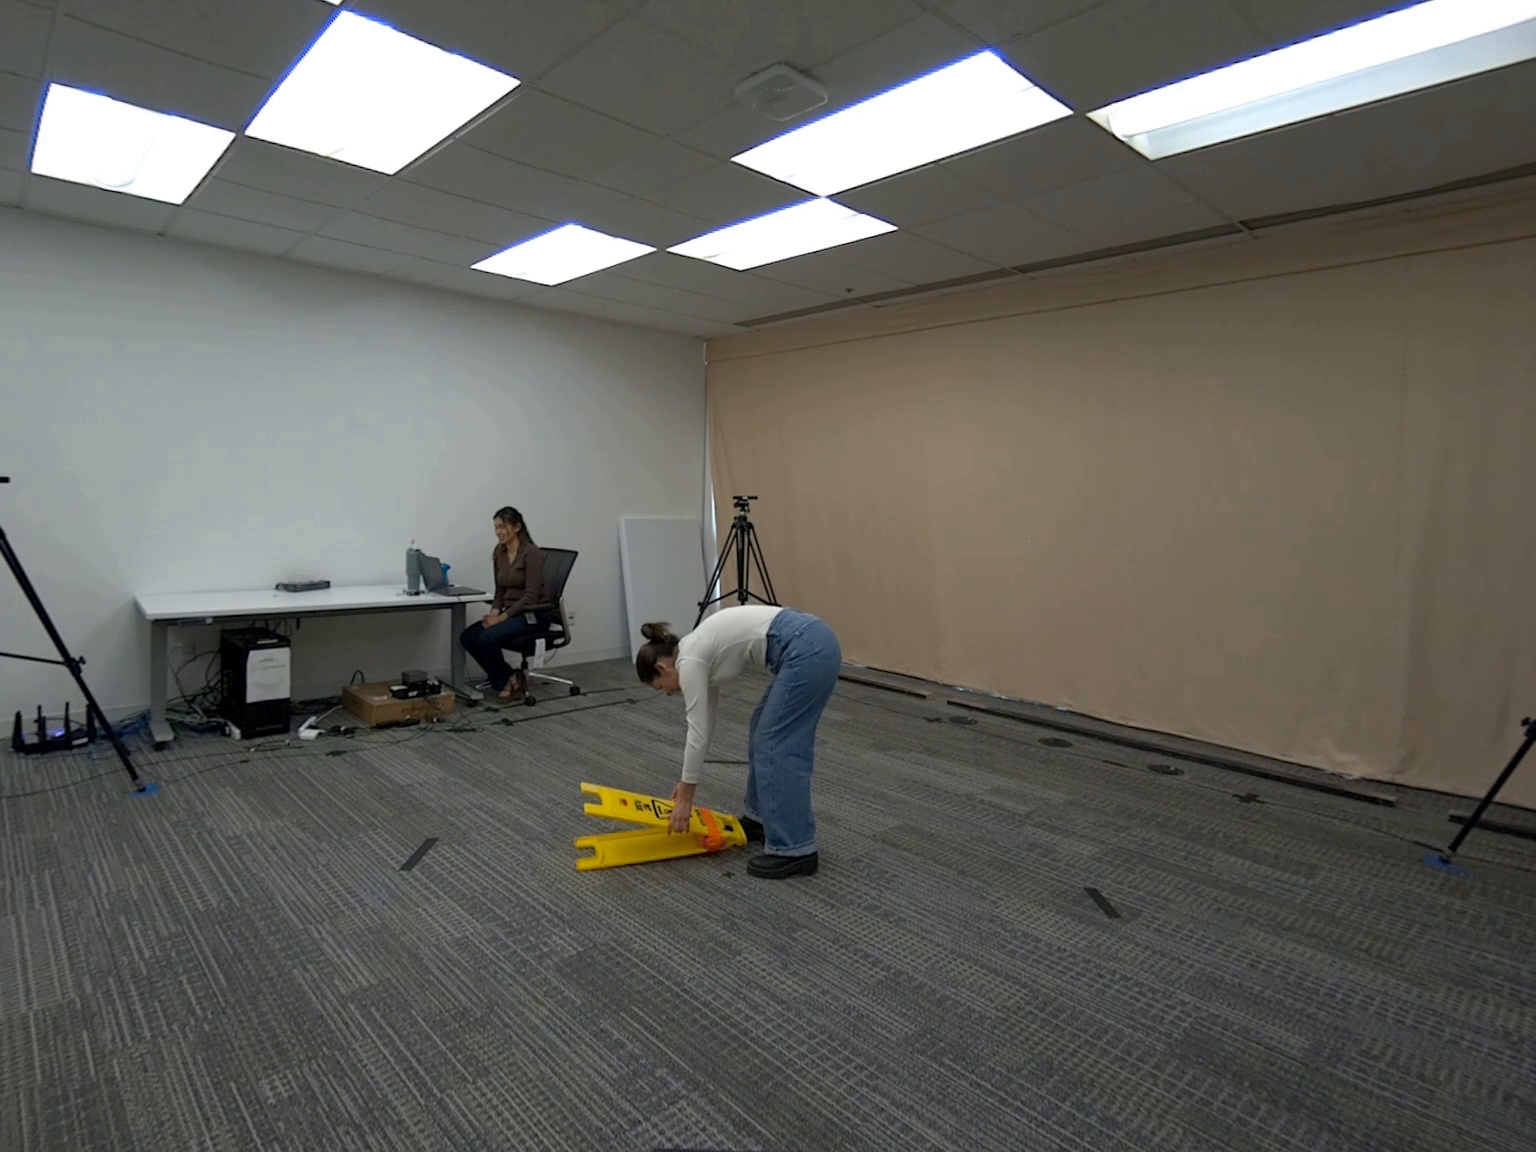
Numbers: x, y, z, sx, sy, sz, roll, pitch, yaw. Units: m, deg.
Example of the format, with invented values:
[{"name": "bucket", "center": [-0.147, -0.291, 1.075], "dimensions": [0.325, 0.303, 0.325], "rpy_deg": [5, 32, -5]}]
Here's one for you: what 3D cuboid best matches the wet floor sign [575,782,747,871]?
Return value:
[{"name": "wet floor sign", "center": [-0.416, 0.987, 3.289], "dimensions": [0.638, 0.288, 0.287], "rpy_deg": [6, 7, -14]}]
